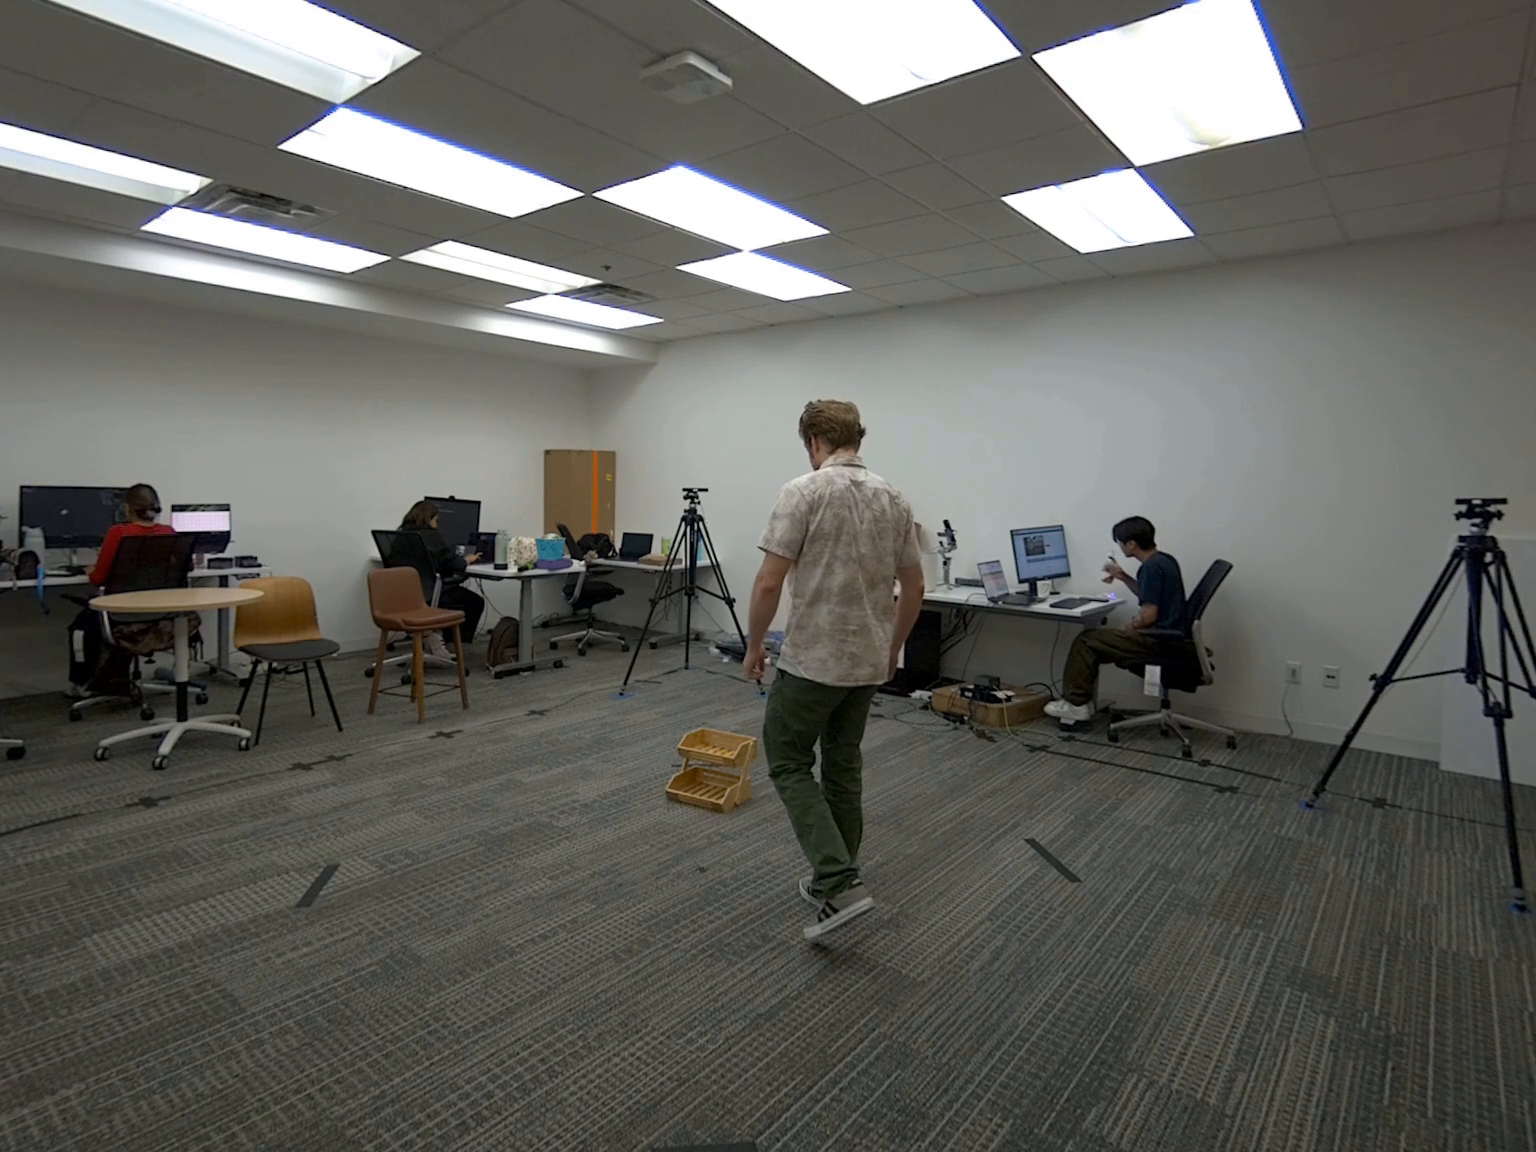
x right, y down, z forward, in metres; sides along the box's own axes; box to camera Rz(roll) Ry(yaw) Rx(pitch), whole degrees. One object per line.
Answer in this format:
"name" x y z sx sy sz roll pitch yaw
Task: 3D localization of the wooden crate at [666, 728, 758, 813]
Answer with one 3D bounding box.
"wooden crate" -0.266 0.863 3.843 0.334 0.272 0.294 3 4 29
